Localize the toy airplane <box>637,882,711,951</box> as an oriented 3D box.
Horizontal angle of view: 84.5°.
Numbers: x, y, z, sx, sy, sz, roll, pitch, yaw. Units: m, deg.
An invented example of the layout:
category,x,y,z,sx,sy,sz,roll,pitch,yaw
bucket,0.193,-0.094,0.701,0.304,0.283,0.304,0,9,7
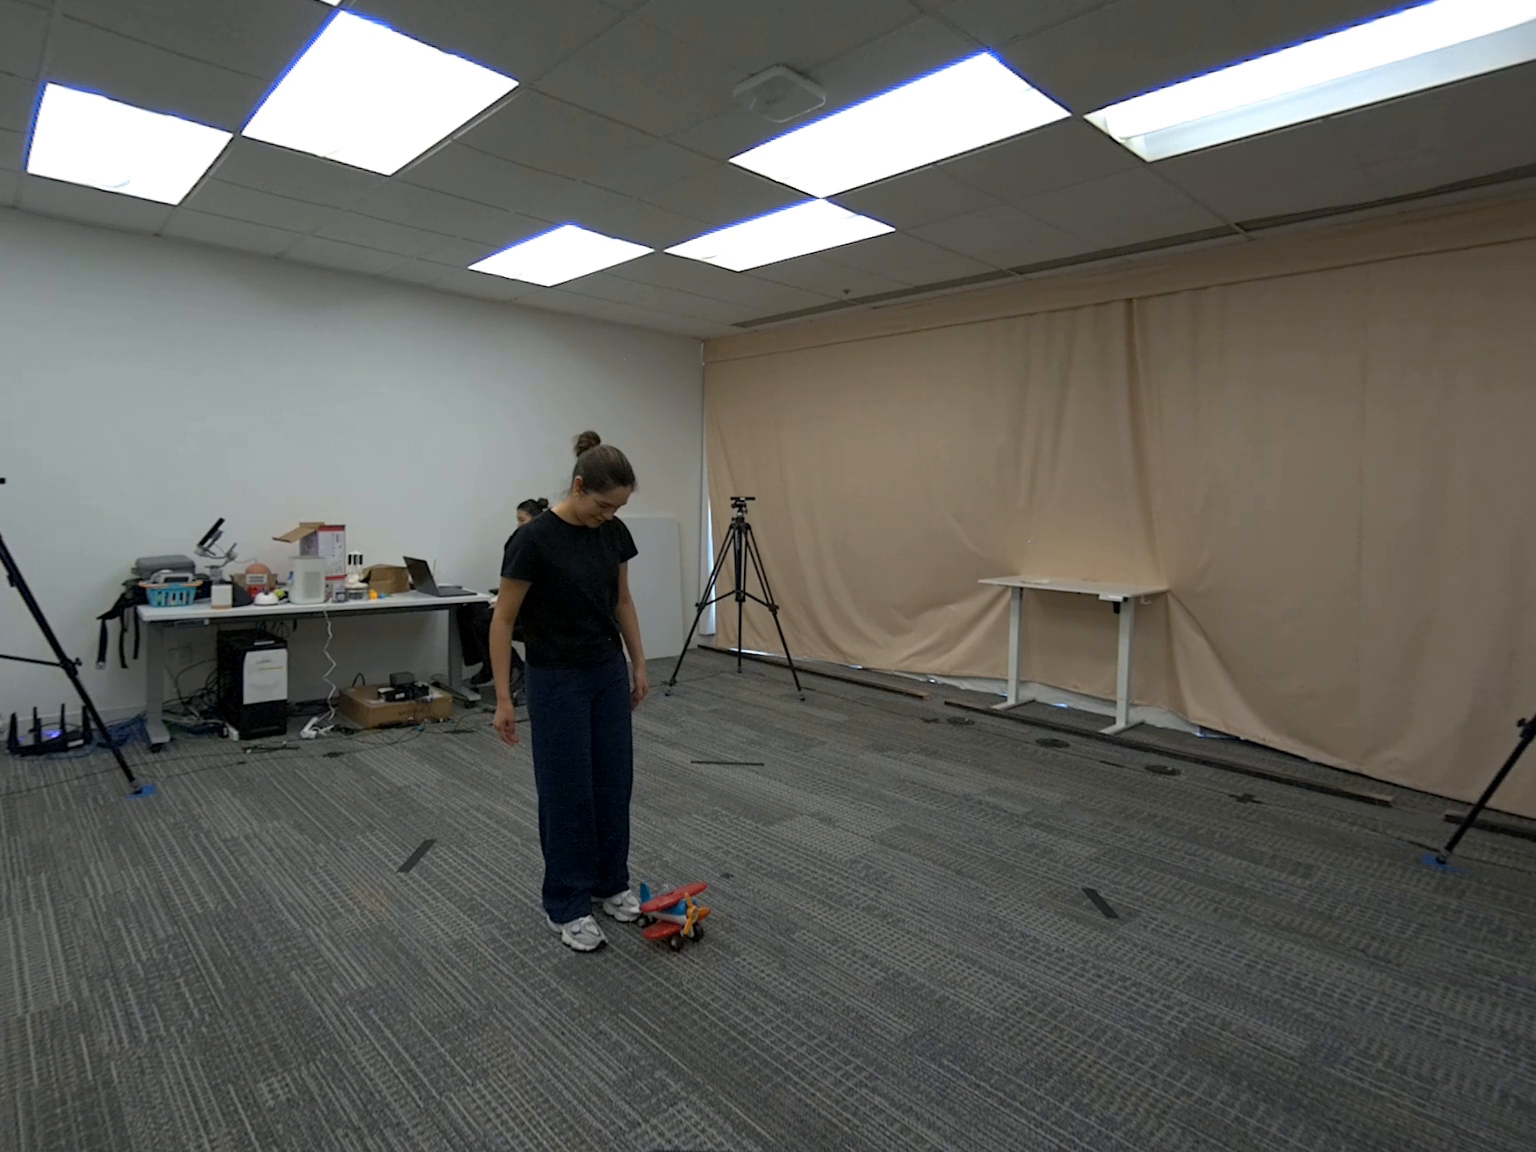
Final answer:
category,x,y,z,sx,sy,sz,roll,pitch,yaw
toy airplane,-0.331,1.073,2.626,0.263,0.156,0.248,4,5,15
